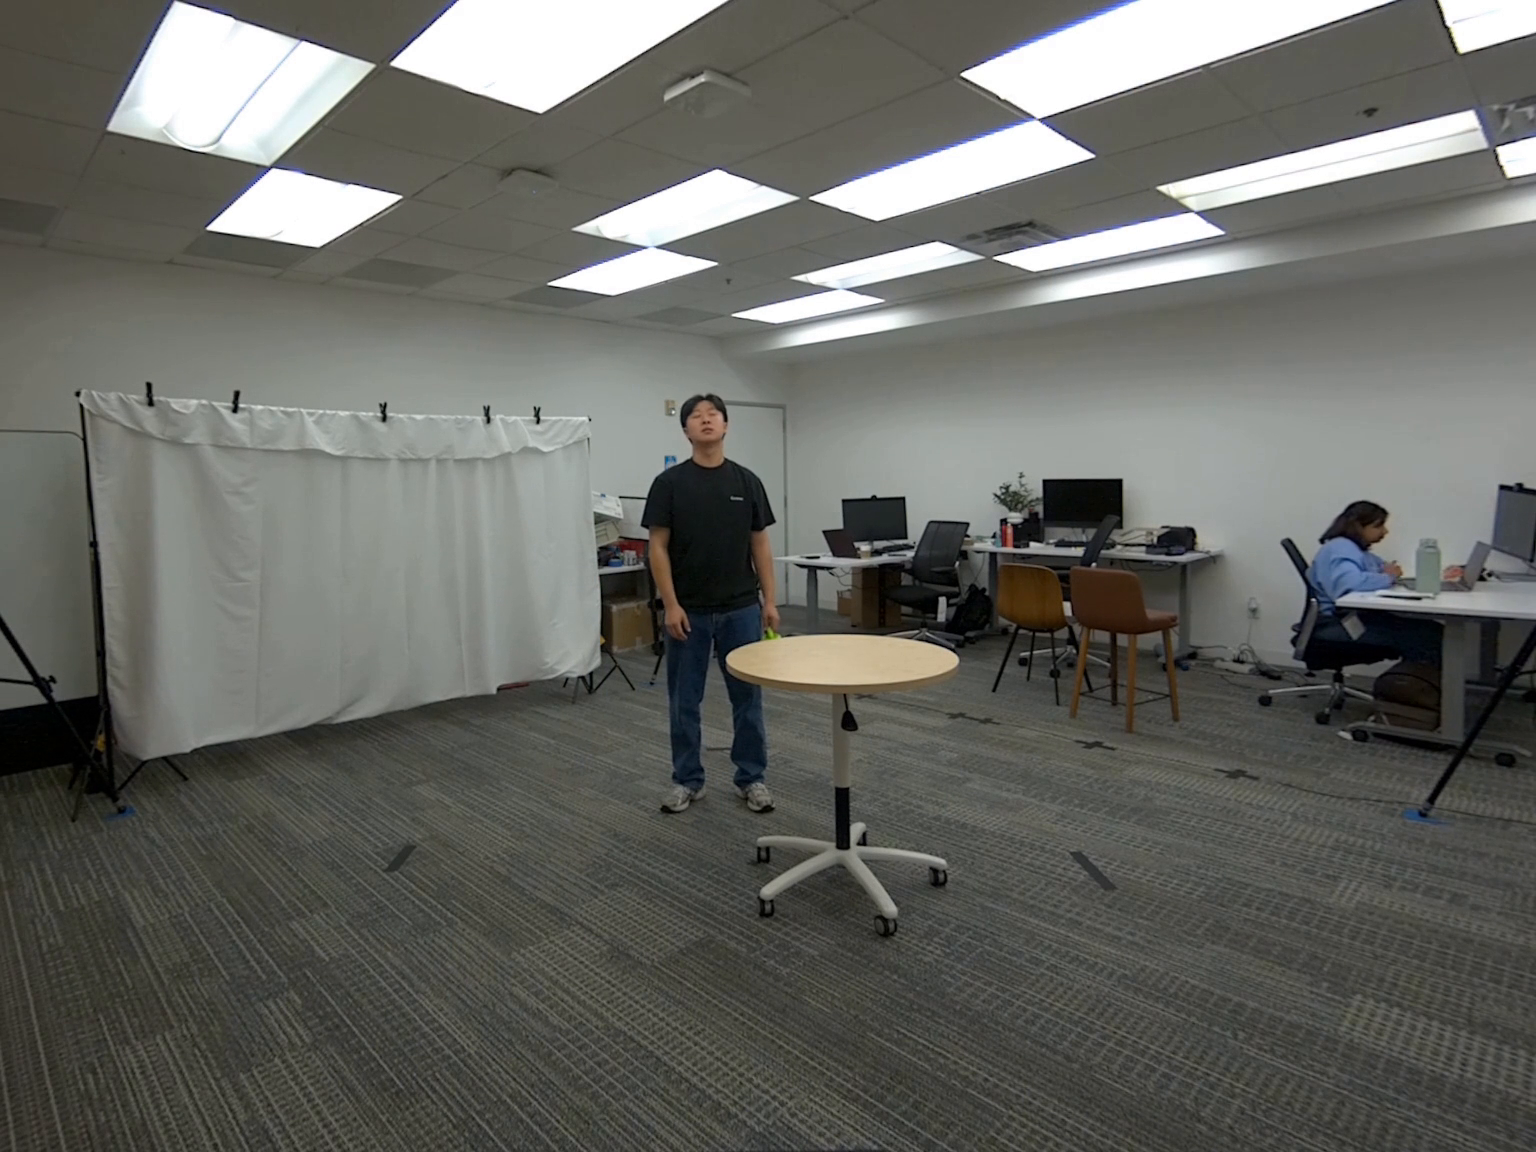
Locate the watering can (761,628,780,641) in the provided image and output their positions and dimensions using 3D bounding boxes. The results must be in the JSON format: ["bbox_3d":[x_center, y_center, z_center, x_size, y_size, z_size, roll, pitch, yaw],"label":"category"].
[{"bbox_3d":[0.017,0.313,3.571,0.098,0.175,0.279,-11,10,6],"label":"watering can"}]
